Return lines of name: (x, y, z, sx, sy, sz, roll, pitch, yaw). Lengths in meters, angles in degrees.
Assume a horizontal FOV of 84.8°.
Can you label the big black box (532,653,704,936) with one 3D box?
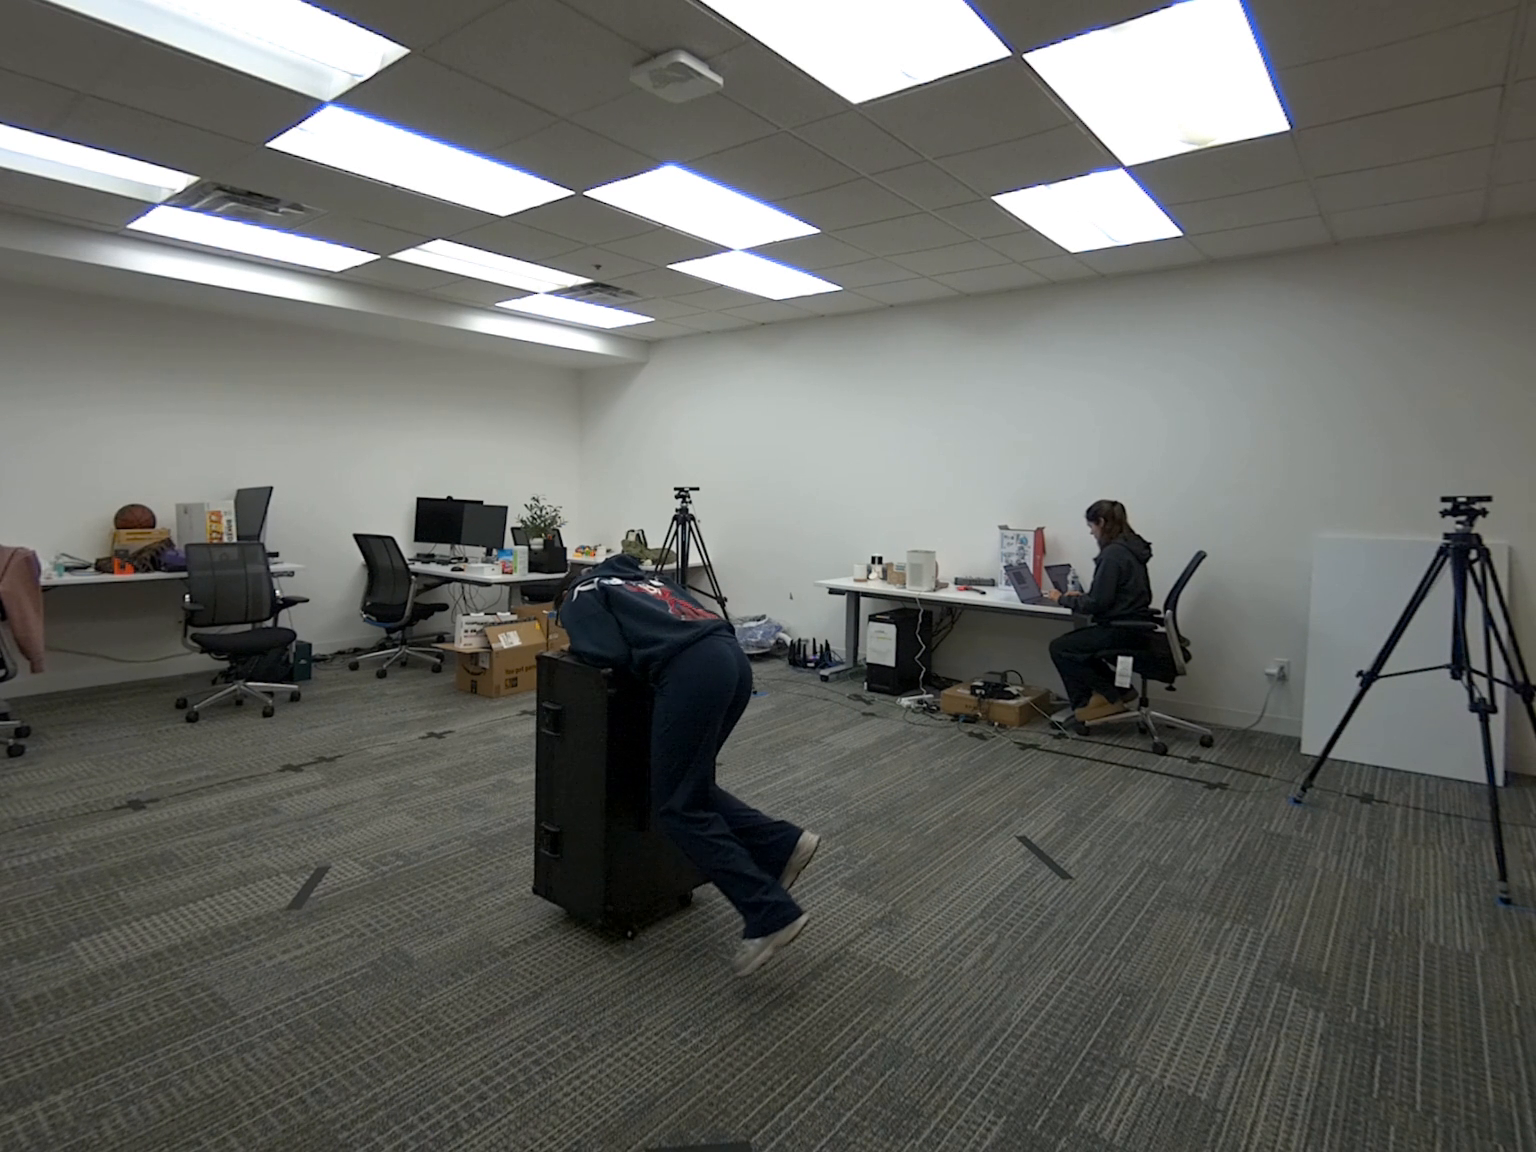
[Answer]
big black box: (-0.458, 0.673, 2.785, 0.410, 0.859, 0.505, 5, 4, 40)
